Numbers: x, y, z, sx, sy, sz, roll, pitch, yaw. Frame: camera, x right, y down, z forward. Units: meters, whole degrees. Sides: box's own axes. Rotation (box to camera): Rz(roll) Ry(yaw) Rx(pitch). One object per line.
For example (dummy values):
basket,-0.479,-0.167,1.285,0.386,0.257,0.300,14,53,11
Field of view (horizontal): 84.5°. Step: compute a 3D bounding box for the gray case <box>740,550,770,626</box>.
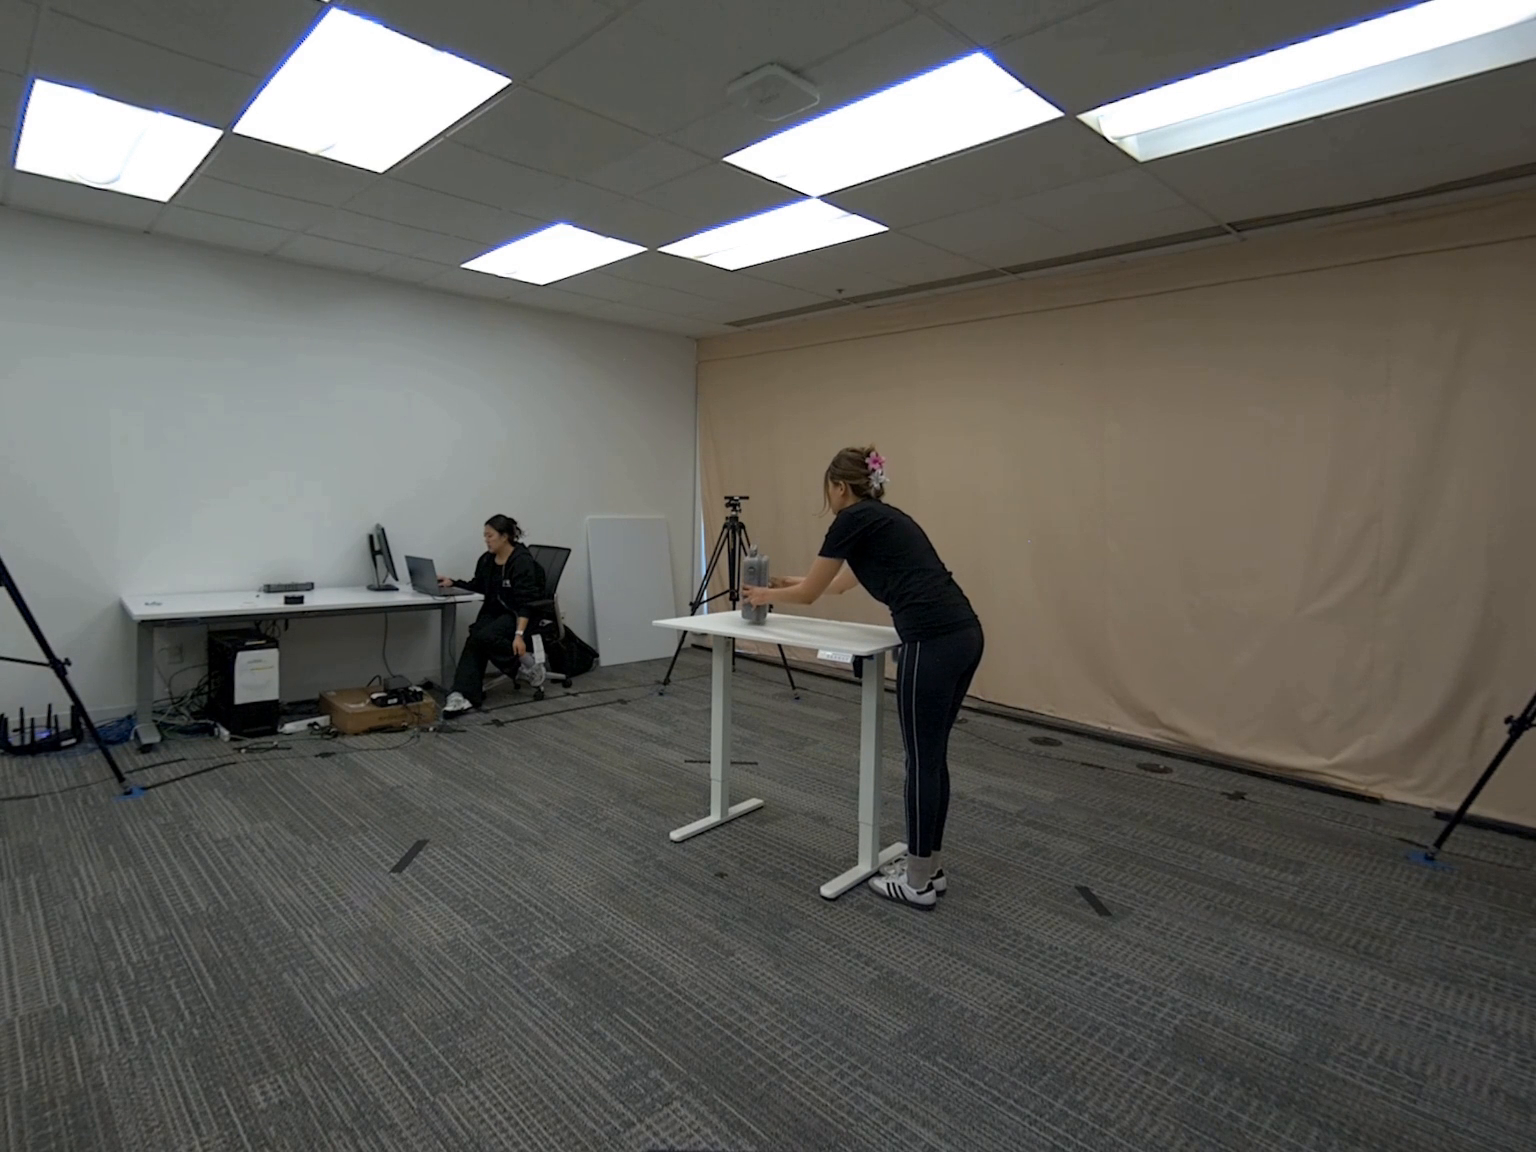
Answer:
gray case,-0.061,0.042,3.469,0.104,0.260,0.257,1,2,1
